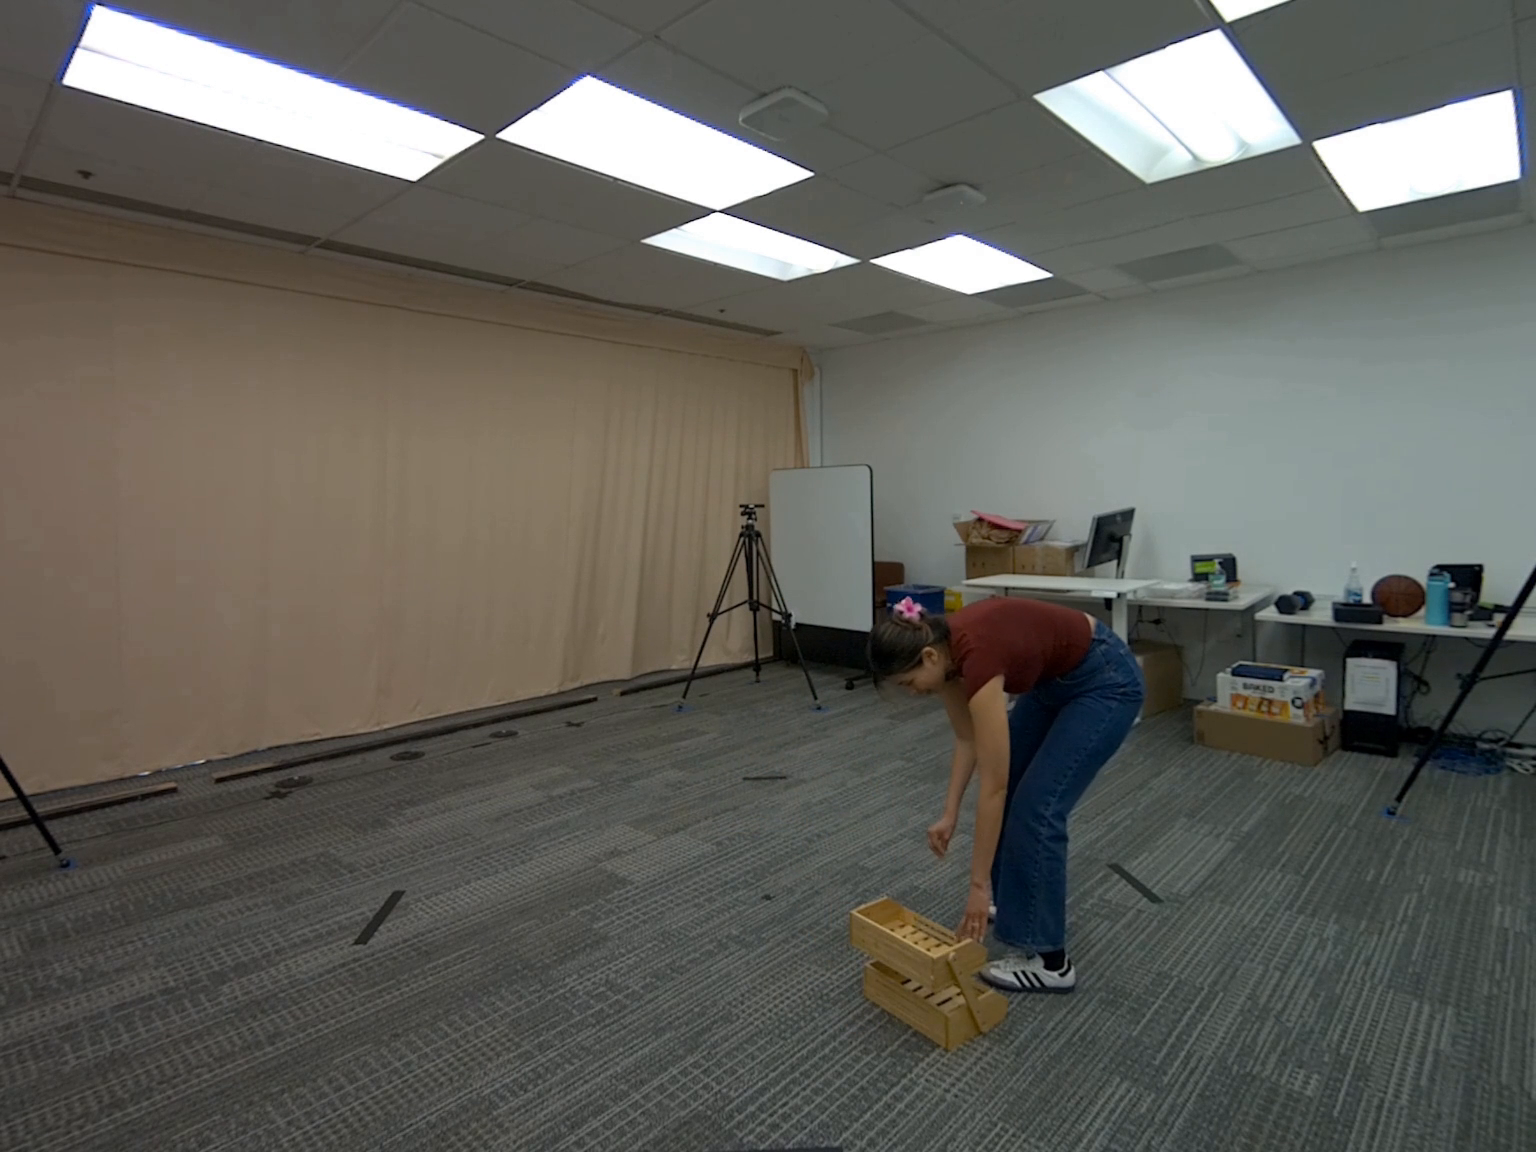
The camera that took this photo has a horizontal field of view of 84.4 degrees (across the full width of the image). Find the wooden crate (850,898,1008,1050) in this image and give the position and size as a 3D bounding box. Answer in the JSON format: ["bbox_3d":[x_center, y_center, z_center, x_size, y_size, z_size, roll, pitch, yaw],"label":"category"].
[{"bbox_3d":[0.441,1.057,2.301,0.293,0.273,0.335,-4,4,-37],"label":"wooden crate"}]
